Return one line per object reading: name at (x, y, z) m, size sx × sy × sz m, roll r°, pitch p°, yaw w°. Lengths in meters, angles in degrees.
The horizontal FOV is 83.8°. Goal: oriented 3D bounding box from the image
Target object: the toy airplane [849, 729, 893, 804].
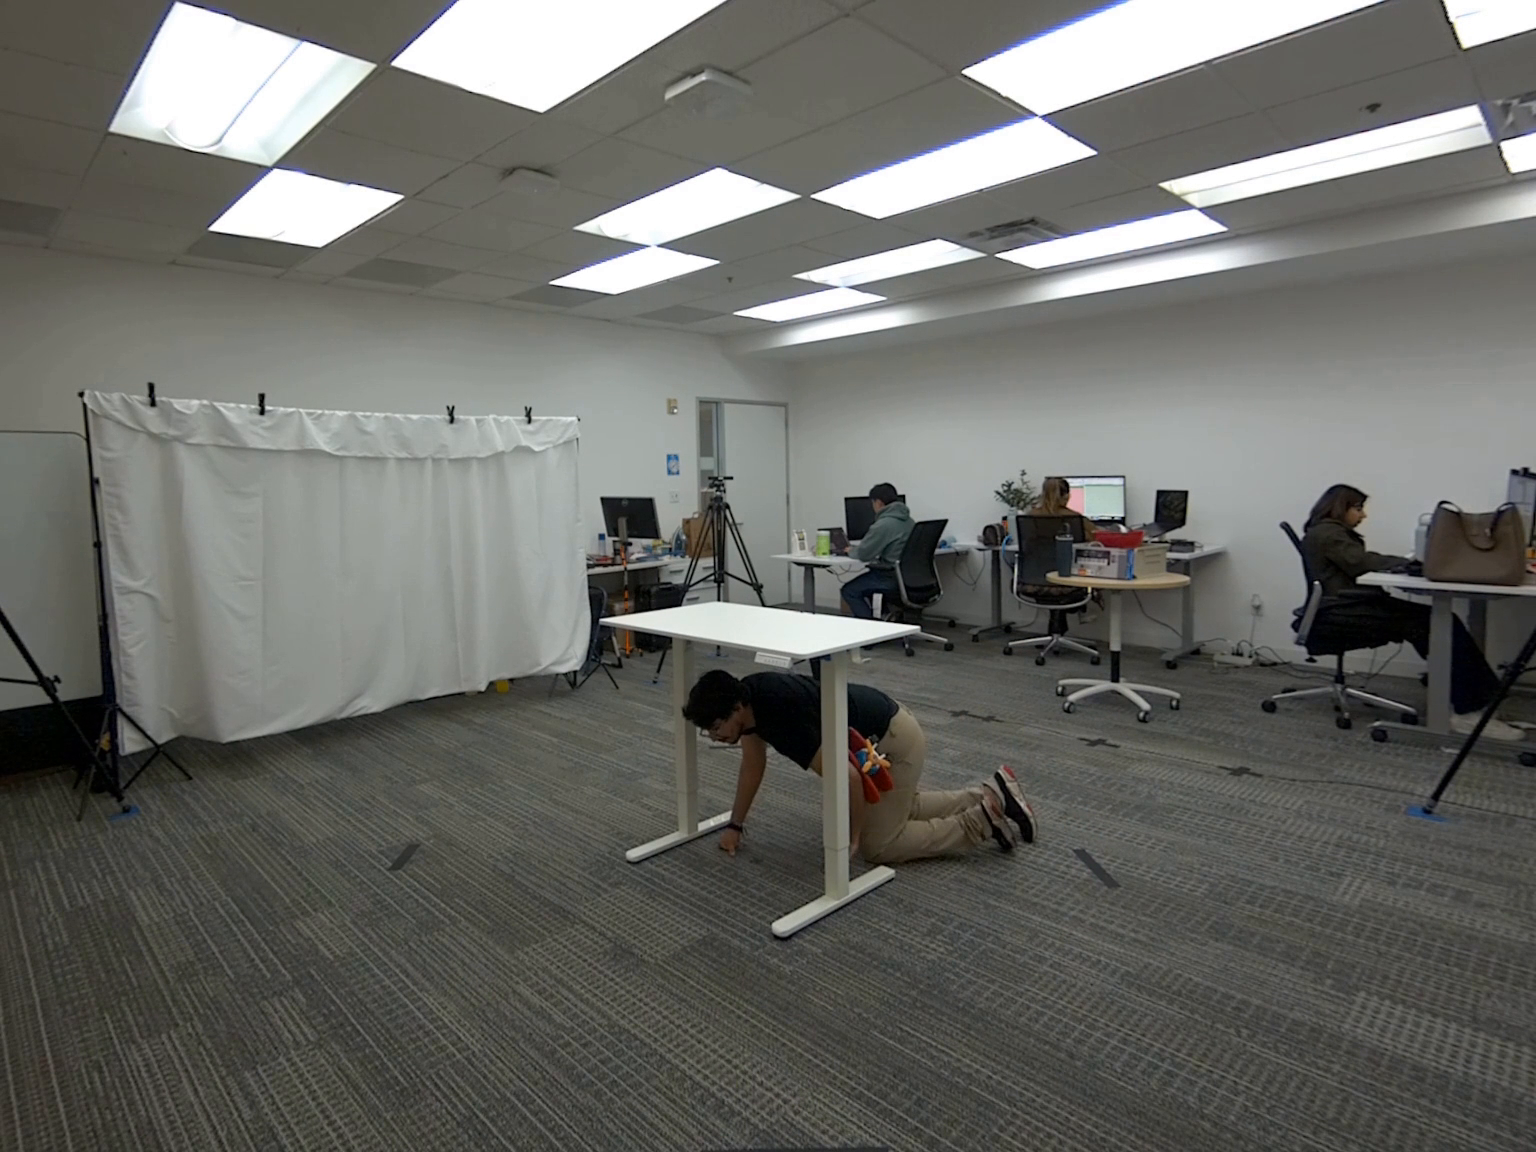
toy airplane at (0.313, 0.674, 2.988) m, size 0.259 × 0.255 × 0.154 m, roll 33°, pitch 36°, yaw 24°
